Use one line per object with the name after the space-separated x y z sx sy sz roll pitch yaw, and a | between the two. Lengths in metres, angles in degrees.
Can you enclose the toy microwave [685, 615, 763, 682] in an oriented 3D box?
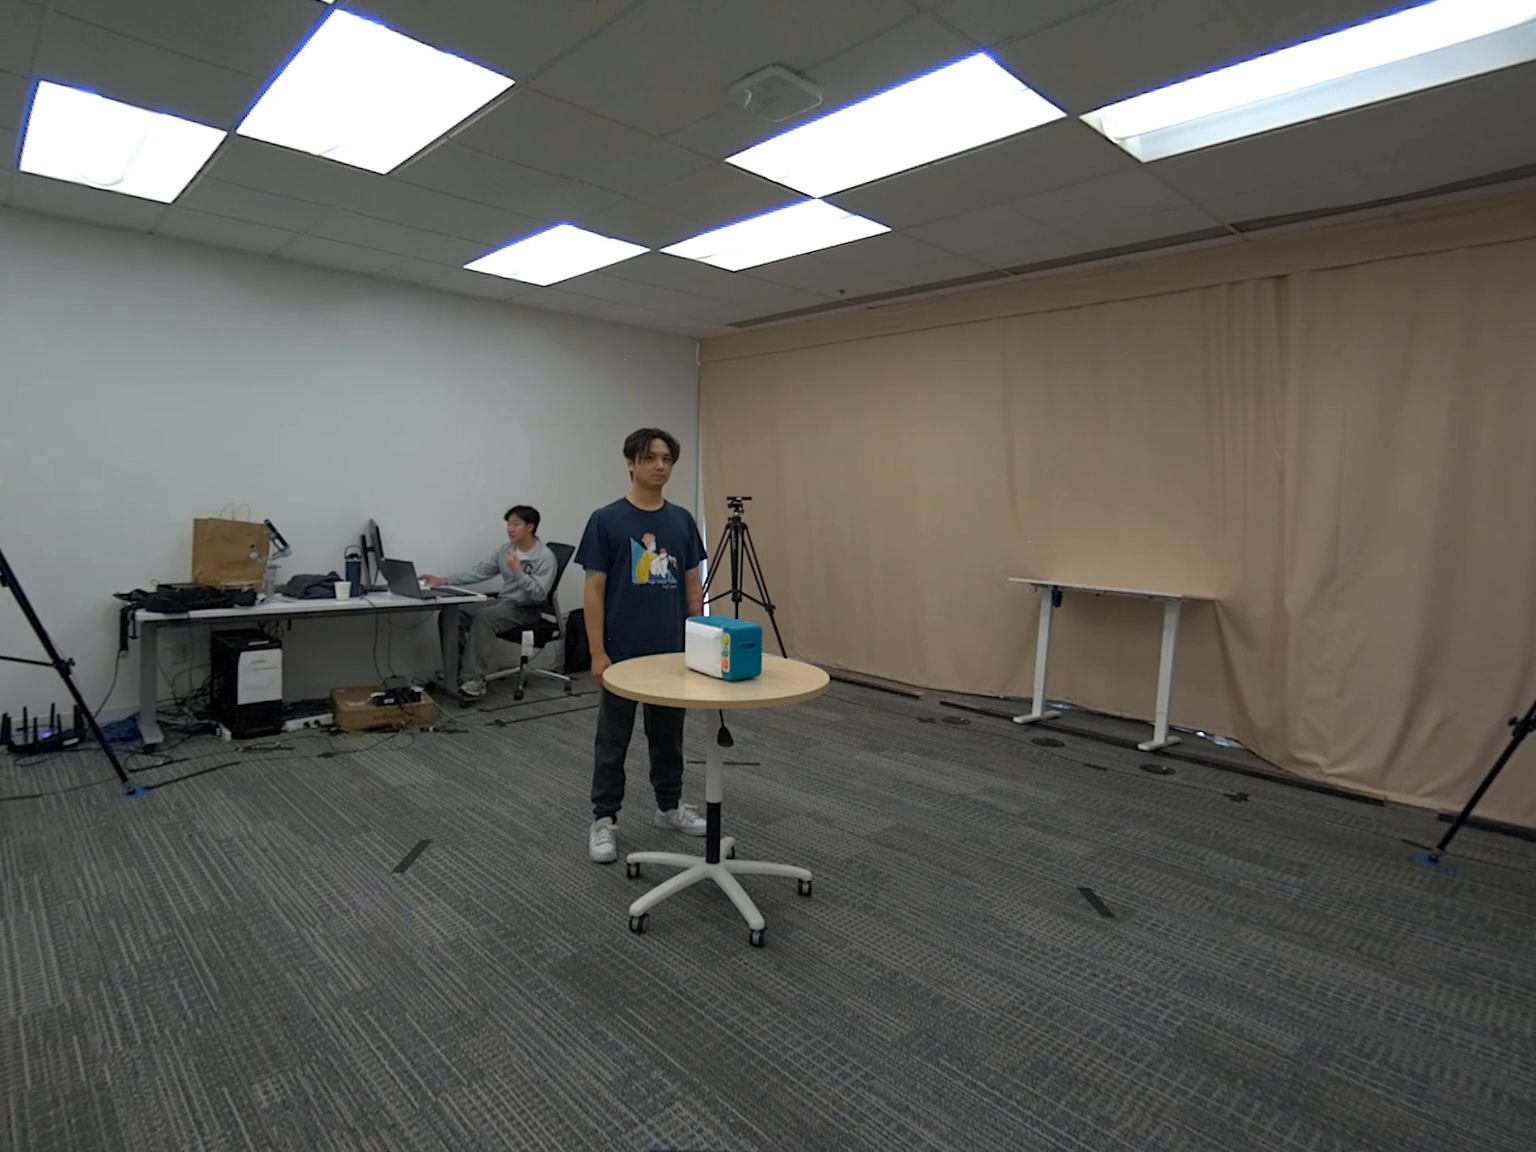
-0.165 0.243 2.842 0.149 0.183 0.293 -2 6 -37 | toy microwave
